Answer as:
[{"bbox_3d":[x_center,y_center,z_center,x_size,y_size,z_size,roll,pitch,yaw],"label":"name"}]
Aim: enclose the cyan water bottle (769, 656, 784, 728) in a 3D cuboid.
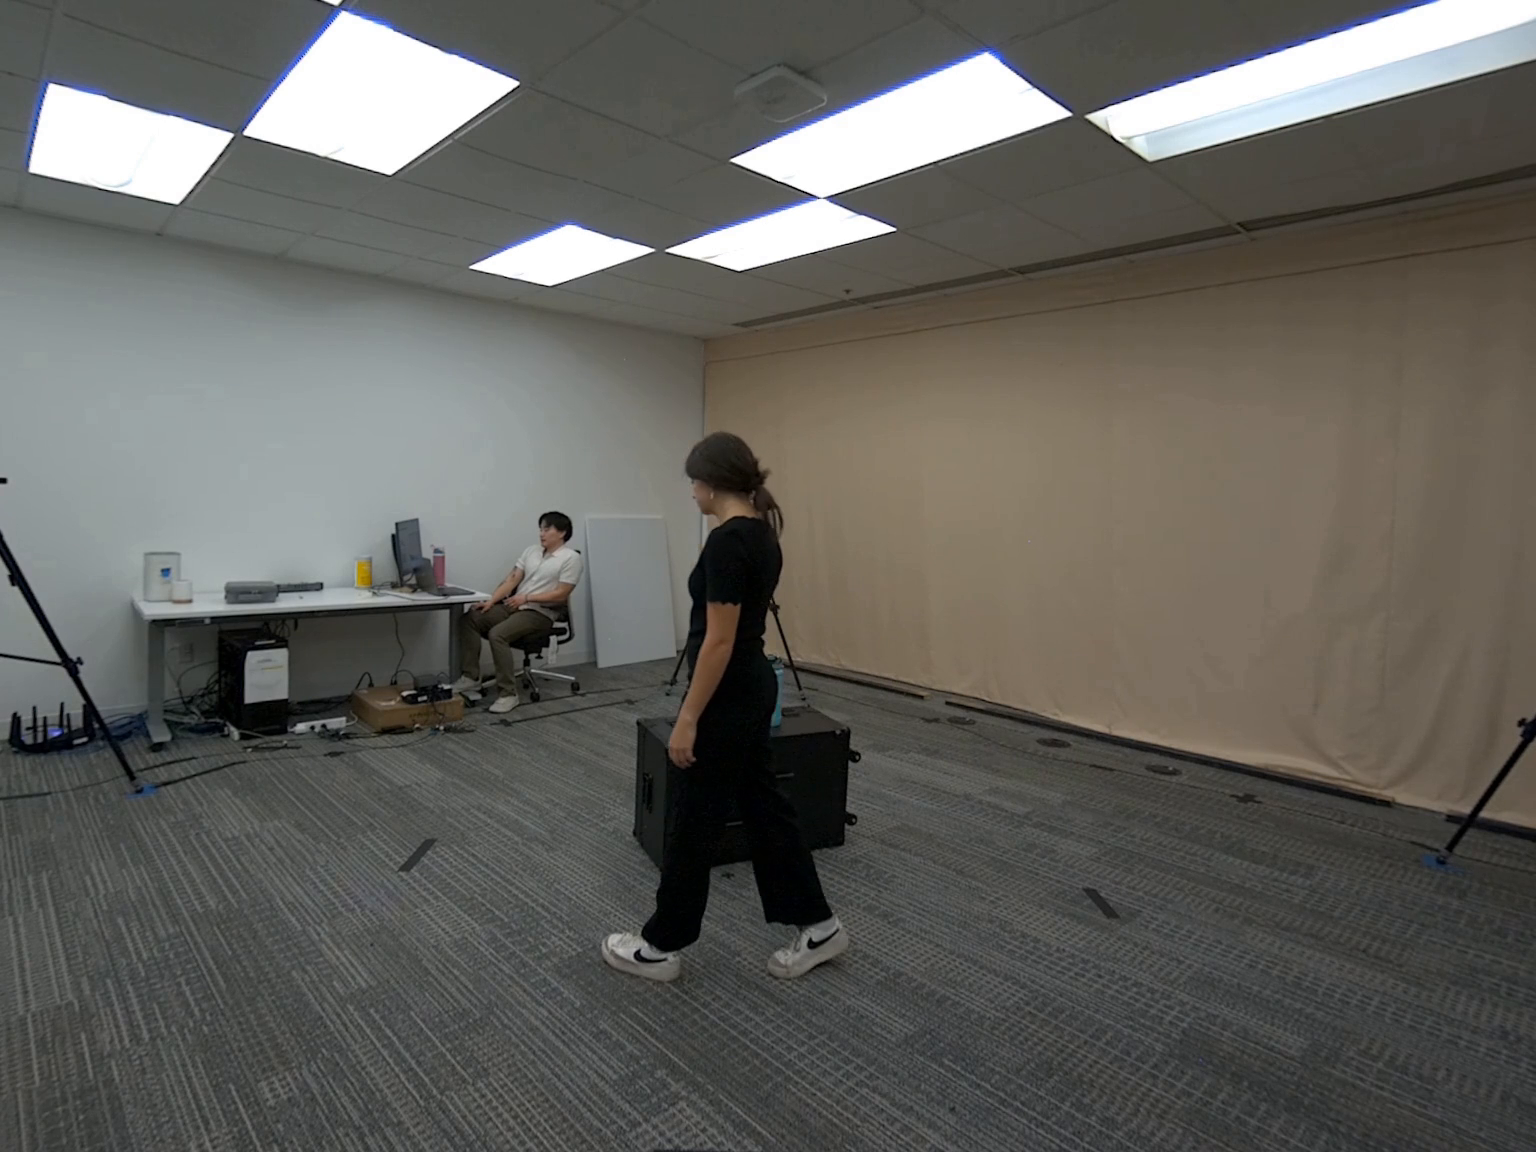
[{"bbox_3d":[0.007,0.459,3.391,0.092,0.283,0.092,2,3,-1],"label":"cyan water bottle"}]
